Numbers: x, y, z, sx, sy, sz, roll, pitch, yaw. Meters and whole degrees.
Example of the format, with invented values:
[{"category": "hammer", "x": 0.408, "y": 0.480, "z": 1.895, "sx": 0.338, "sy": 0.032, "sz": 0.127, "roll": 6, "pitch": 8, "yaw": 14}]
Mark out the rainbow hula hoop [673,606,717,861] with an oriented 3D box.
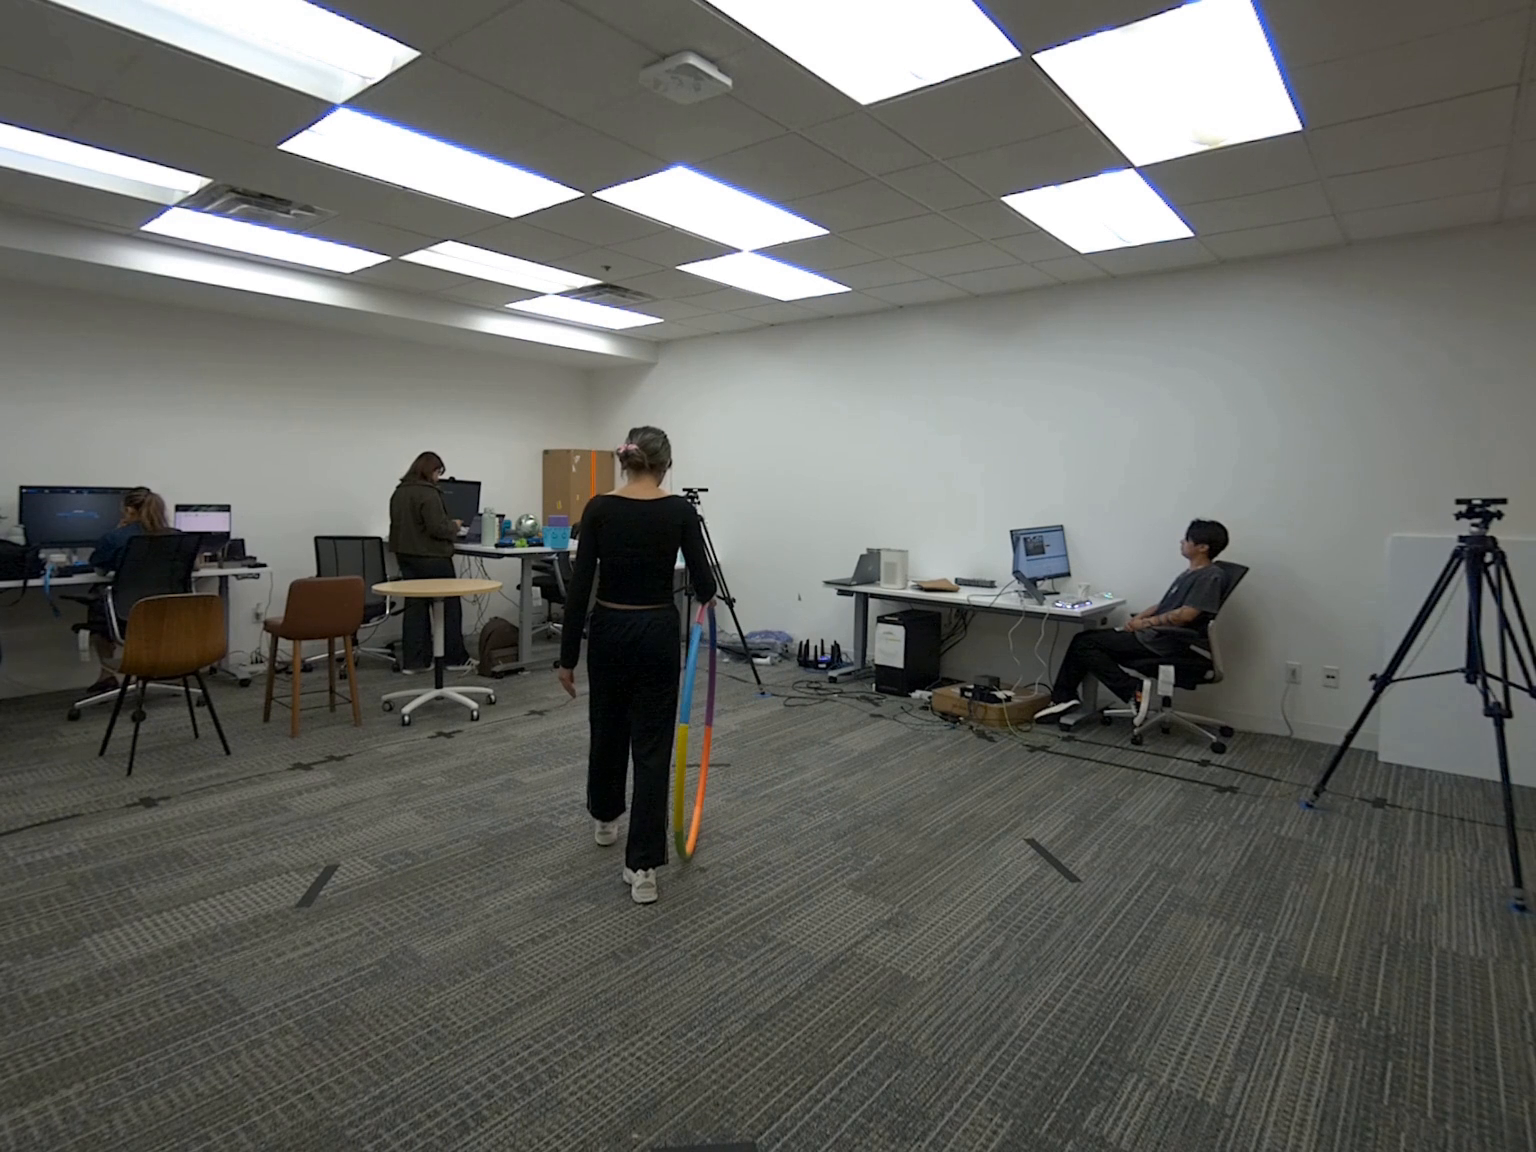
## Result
[{"category": "rainbow hula hoop", "x": -0.274, "y": 0.562, "z": 3.261, "sx": 0.035, "sy": 0.976, "sz": 0.978, "roll": 4, "pitch": 4, "yaw": 1}]
